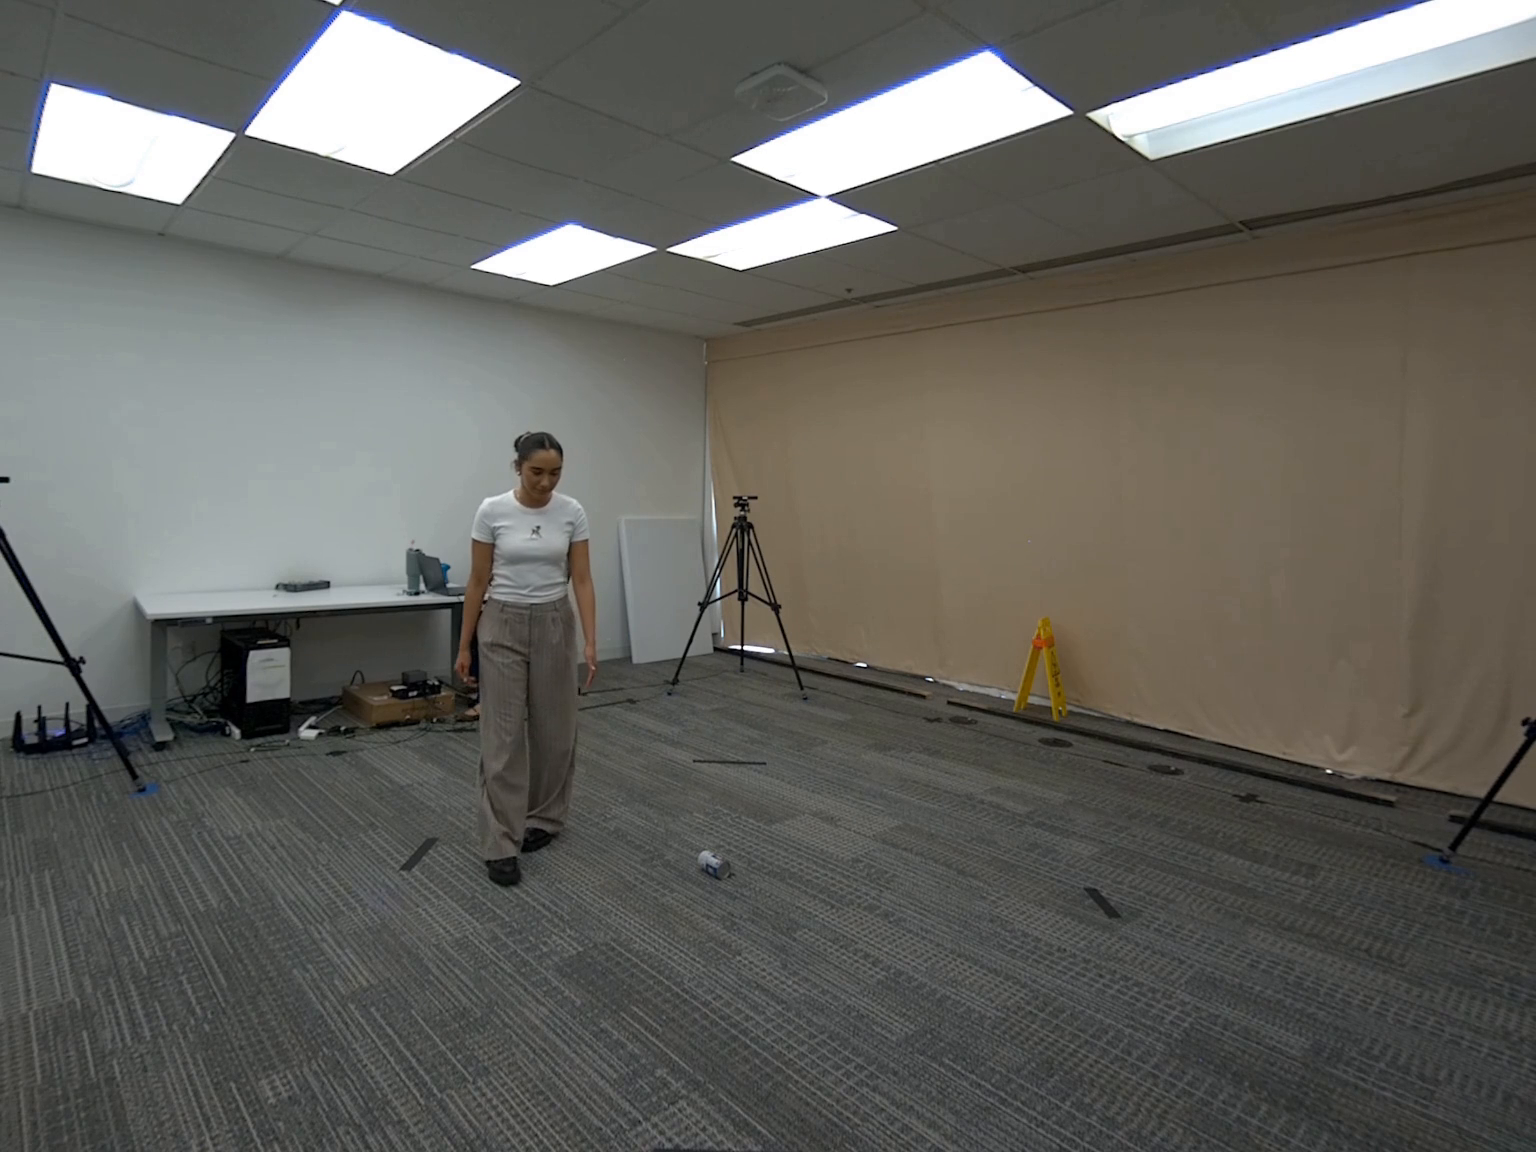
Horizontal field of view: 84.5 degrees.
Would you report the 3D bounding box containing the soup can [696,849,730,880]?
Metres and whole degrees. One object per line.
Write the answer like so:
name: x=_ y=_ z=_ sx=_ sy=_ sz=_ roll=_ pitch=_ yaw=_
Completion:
soup can: x=-0.208 y=1.061 z=3.109 sx=0.065 sy=0.067 sz=0.125 roll=-2 pitch=10 yaw=-38
